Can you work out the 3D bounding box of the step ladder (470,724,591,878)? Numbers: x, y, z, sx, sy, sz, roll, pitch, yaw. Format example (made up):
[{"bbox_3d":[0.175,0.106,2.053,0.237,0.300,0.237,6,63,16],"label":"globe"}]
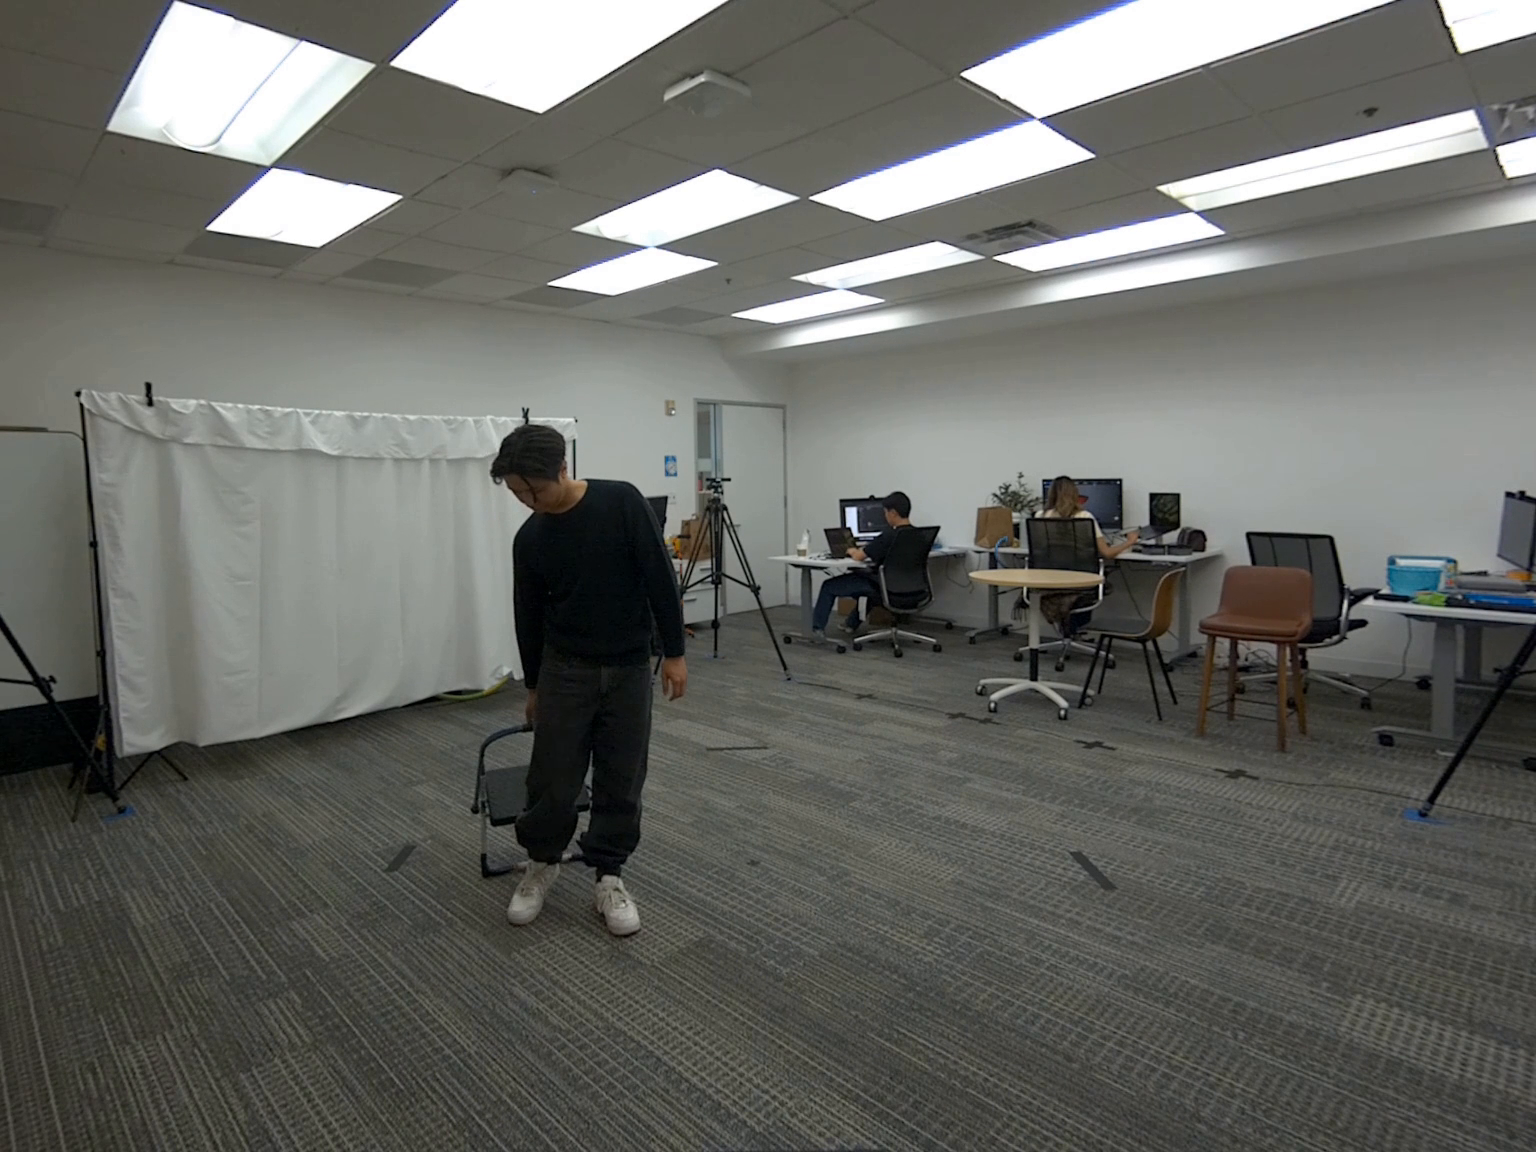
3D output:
[{"bbox_3d":[-0.845,0.721,3.098,0.422,0.595,0.362,-4,32,-23],"label":"step ladder"}]
